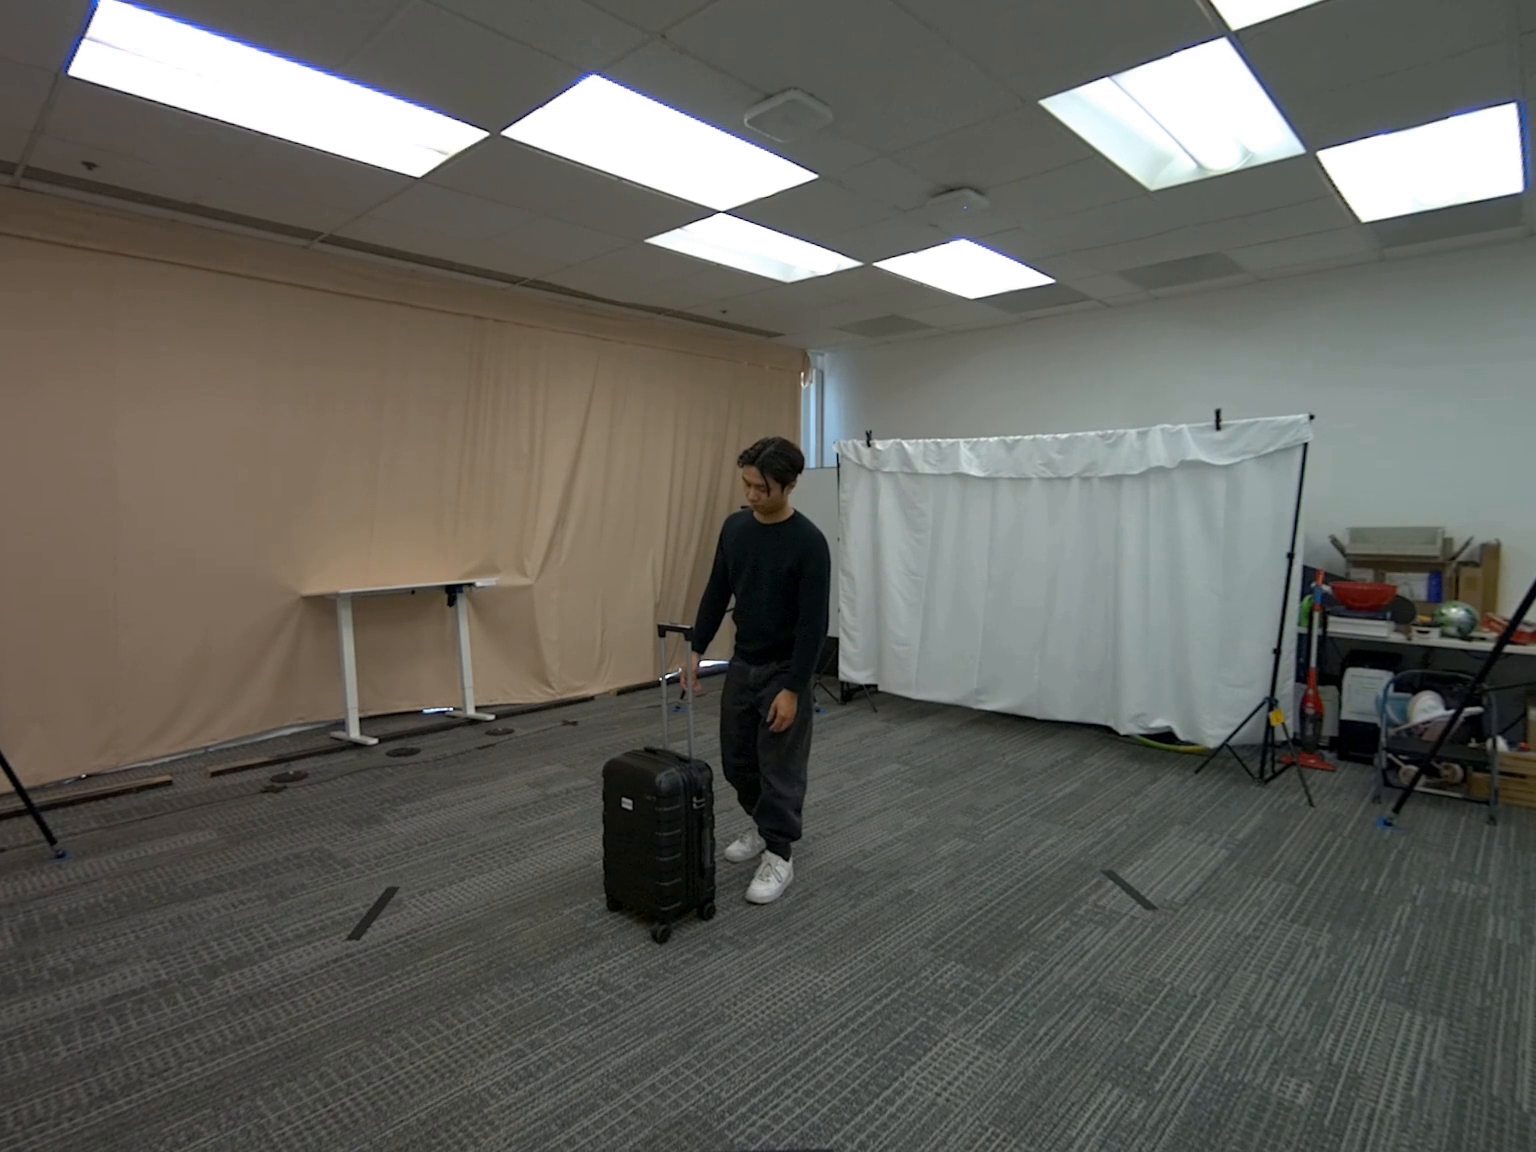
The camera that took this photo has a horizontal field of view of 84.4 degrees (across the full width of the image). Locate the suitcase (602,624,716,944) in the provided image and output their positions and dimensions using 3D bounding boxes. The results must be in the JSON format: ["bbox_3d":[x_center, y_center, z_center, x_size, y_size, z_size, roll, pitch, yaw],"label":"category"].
[{"bbox_3d":[-0.385,0.679,2.855,0.396,0.976,0.249,1,4,43],"label":"suitcase"}]
